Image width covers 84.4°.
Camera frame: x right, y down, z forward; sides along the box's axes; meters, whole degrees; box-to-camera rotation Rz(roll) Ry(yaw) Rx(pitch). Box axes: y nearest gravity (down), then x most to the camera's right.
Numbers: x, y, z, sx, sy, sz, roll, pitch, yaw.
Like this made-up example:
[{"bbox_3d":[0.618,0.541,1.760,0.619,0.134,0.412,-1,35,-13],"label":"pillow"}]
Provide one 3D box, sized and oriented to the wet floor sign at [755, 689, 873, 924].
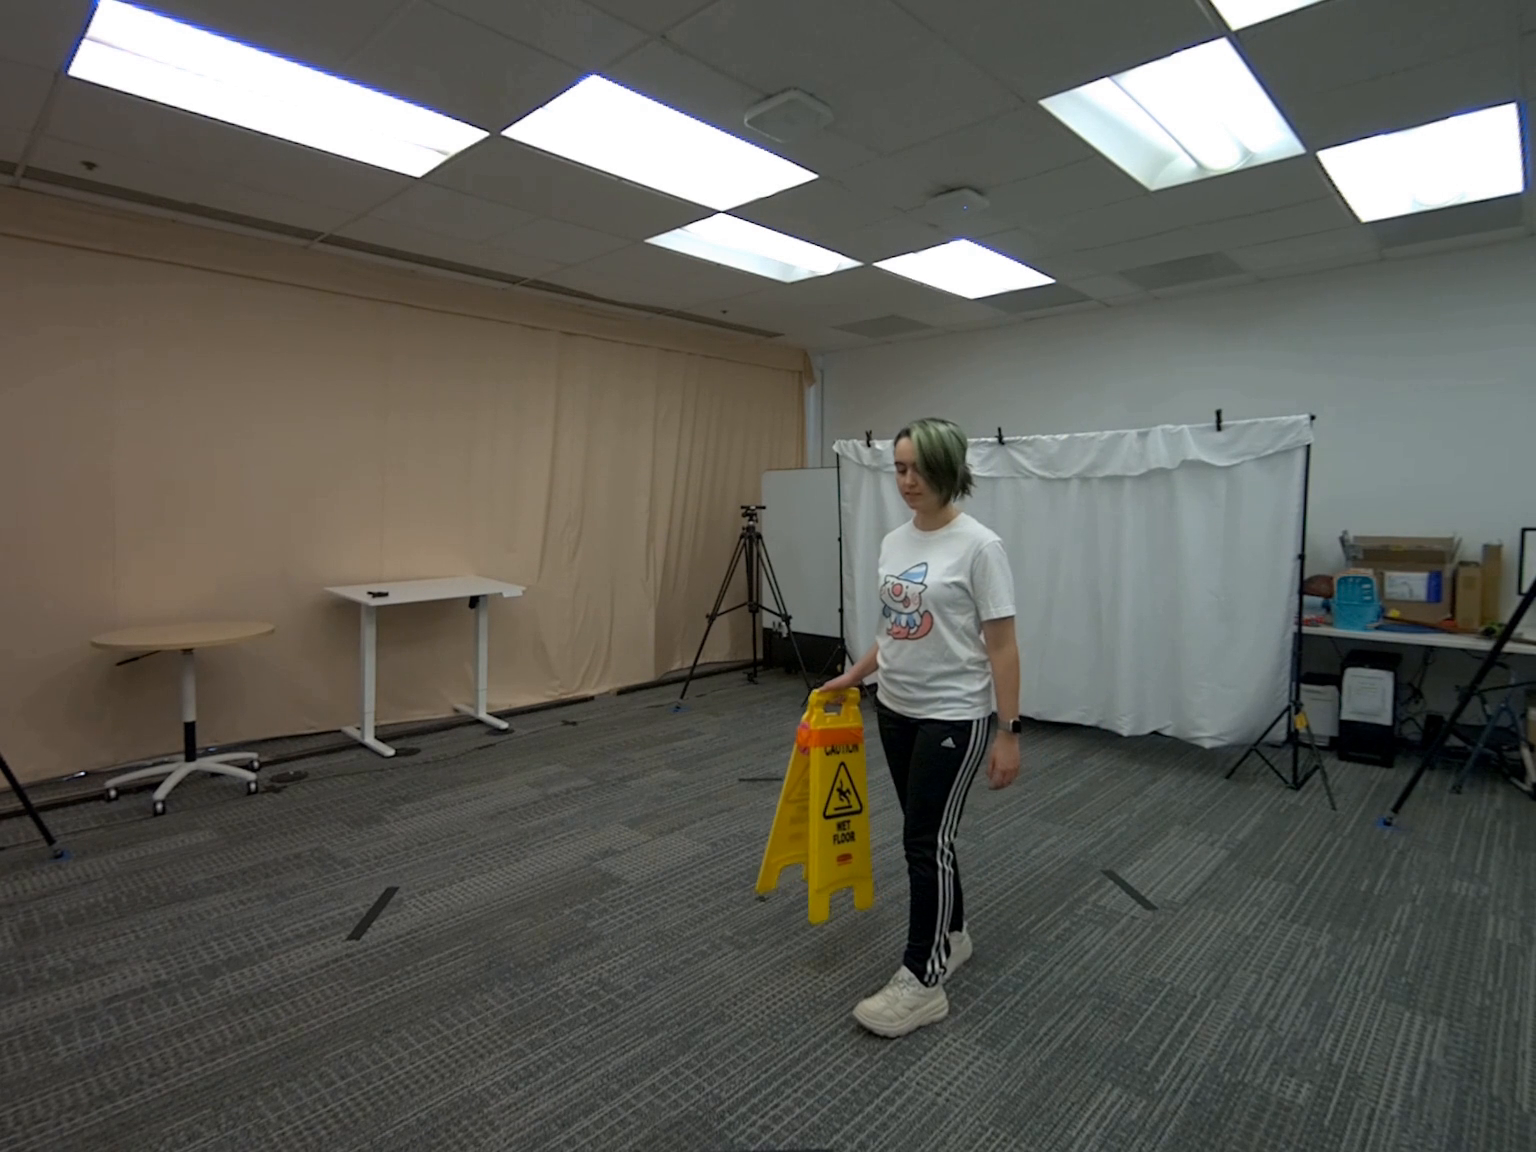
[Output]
[{"bbox_3d":[0.176,0.670,2.576,0.273,0.646,0.299,5,-1,-41],"label":"wet floor sign"}]
